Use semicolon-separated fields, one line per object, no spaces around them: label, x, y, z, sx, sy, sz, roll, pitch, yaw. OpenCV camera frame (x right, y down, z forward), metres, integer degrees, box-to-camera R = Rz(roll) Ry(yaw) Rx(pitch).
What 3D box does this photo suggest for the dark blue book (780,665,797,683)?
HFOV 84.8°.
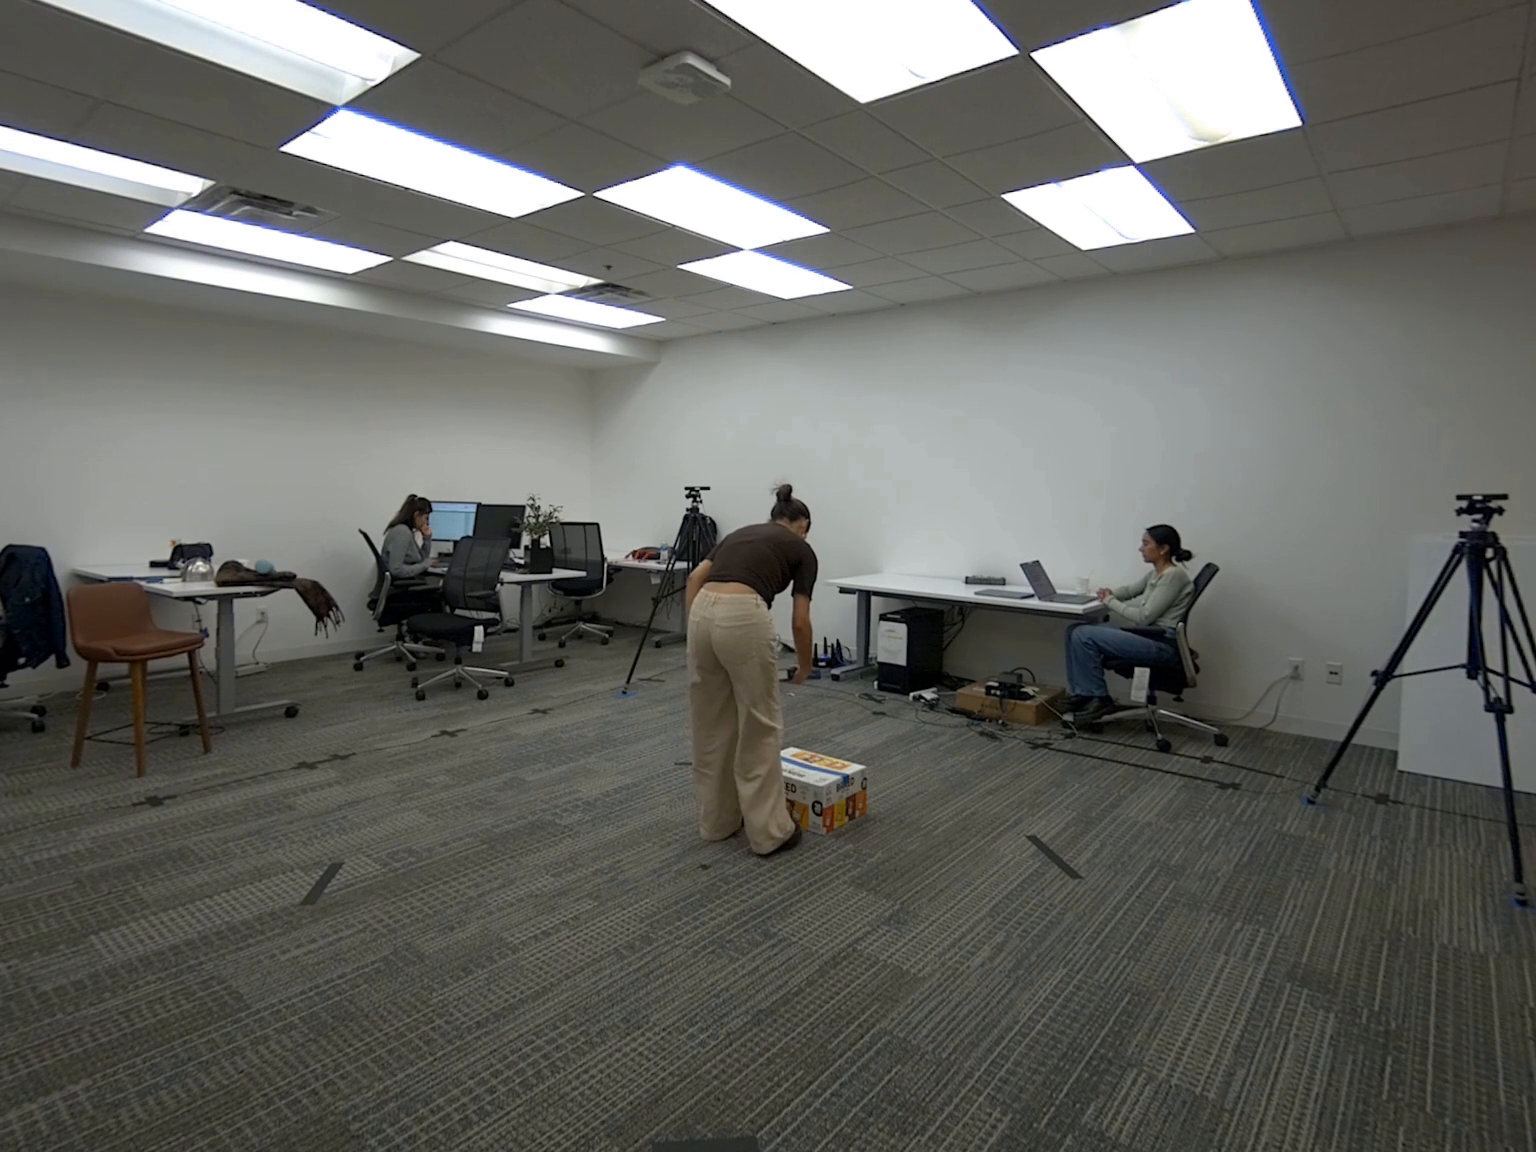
dark blue book;0.085;0.414;3.594;0.167;0.045;0.237;-10;-10;38
